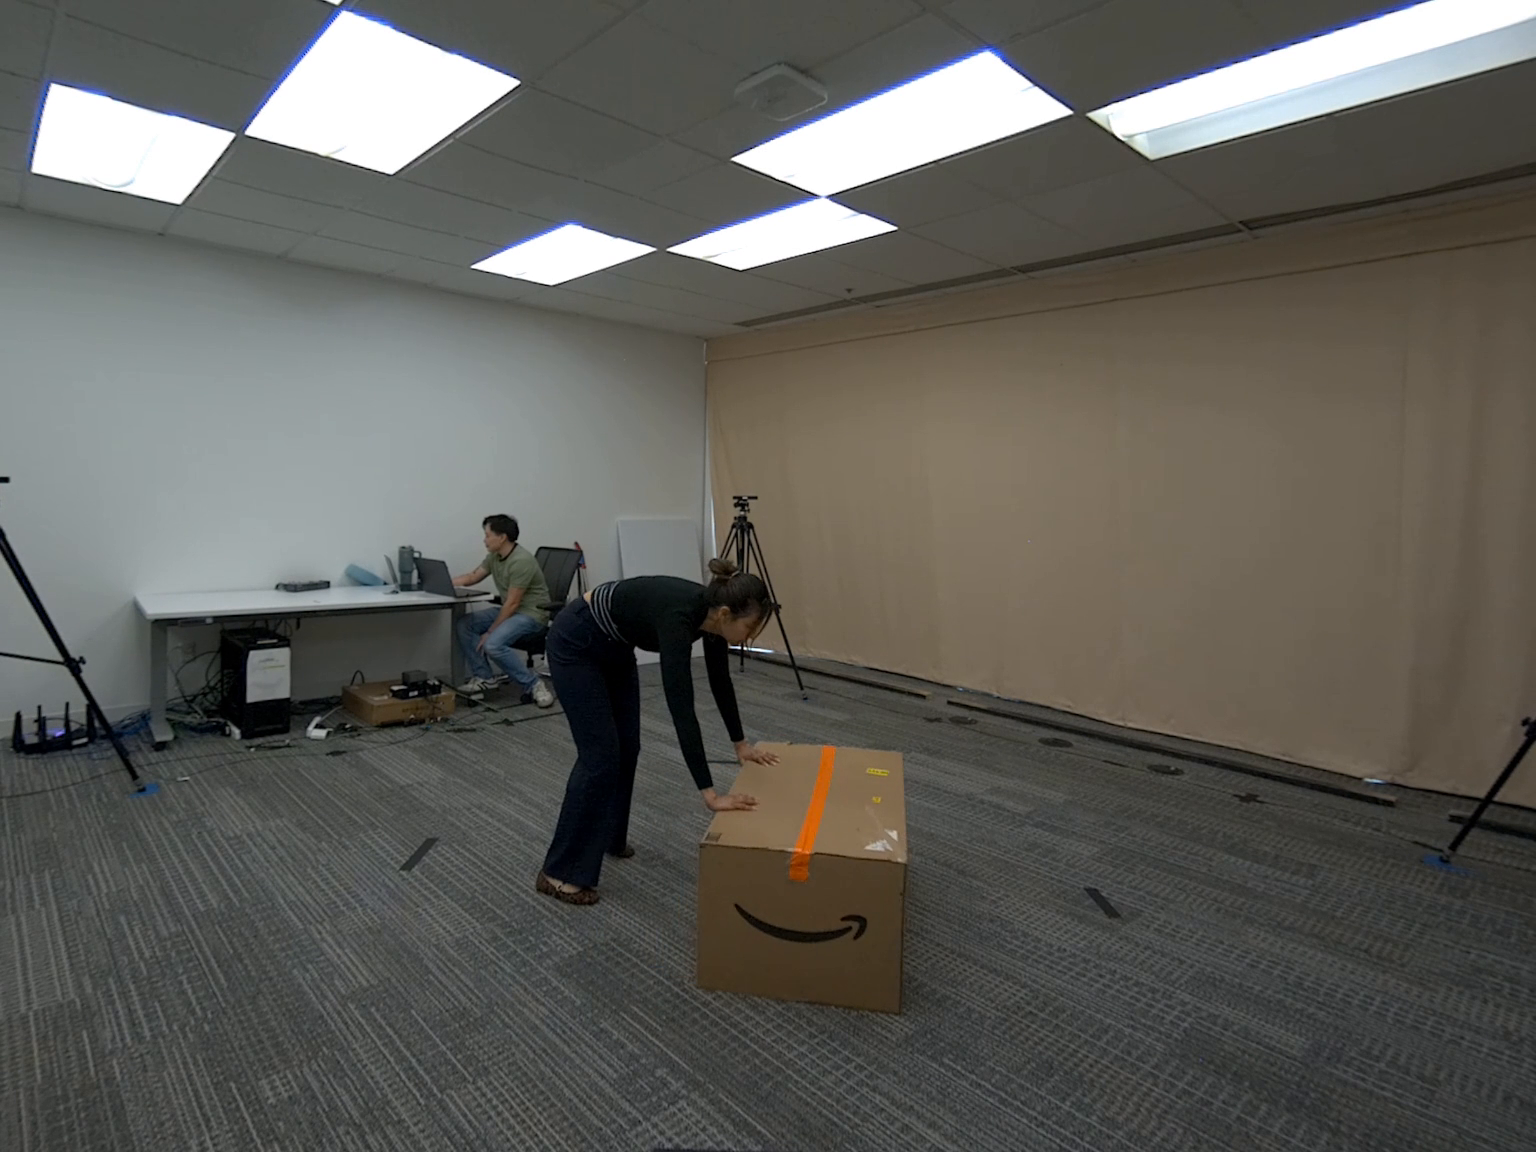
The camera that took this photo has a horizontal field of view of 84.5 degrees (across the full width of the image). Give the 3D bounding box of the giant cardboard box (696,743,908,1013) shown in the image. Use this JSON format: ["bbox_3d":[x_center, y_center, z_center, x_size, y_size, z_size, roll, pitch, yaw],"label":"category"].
[{"bbox_3d":[0.155,0.921,2.817,0.582,0.425,1.021,1,5,8],"label":"giant cardboard box"}]
